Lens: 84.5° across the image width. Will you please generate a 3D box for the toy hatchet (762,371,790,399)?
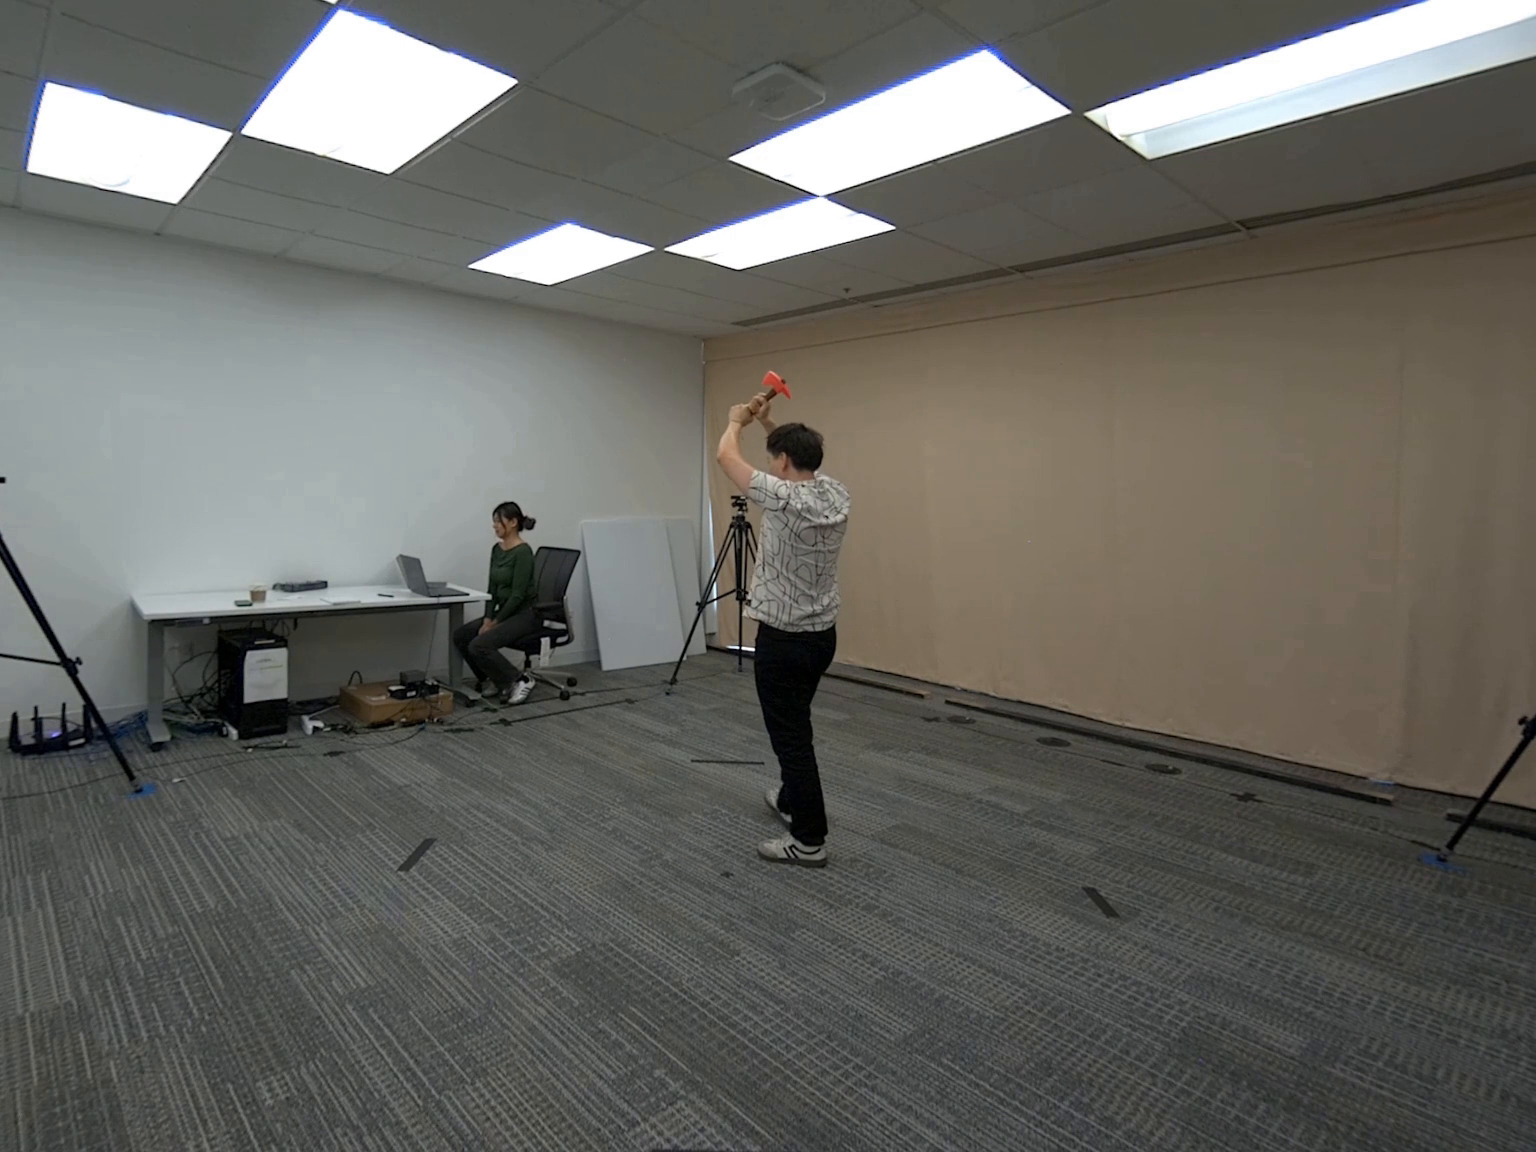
[{"bbox_3d":[-0.048,-0.725,3.337,0.274,0.130,0.029,-13,8,30],"label":"toy hatchet"}]
